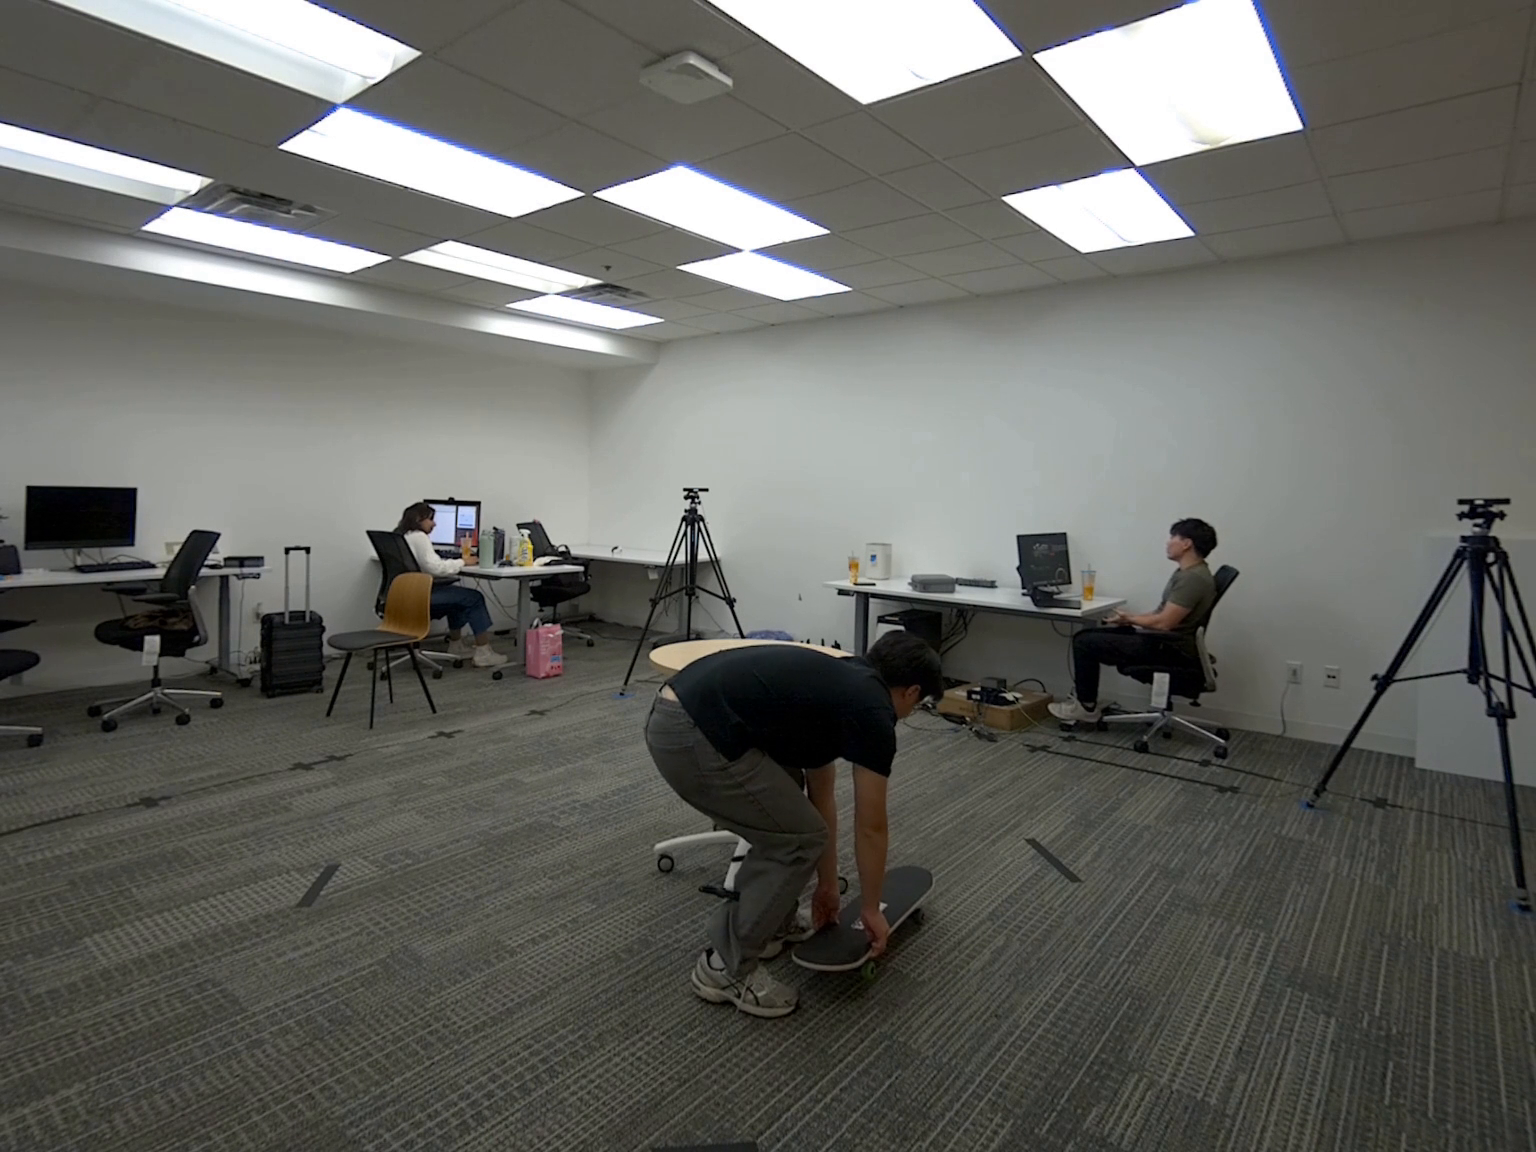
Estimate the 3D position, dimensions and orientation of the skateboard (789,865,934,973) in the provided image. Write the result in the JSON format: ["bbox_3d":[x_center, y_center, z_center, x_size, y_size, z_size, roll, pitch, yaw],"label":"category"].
[{"bbox_3d":[0.313,1.070,2.593,0.199,0.110,0.764,-4,2,31],"label":"skateboard"}]
